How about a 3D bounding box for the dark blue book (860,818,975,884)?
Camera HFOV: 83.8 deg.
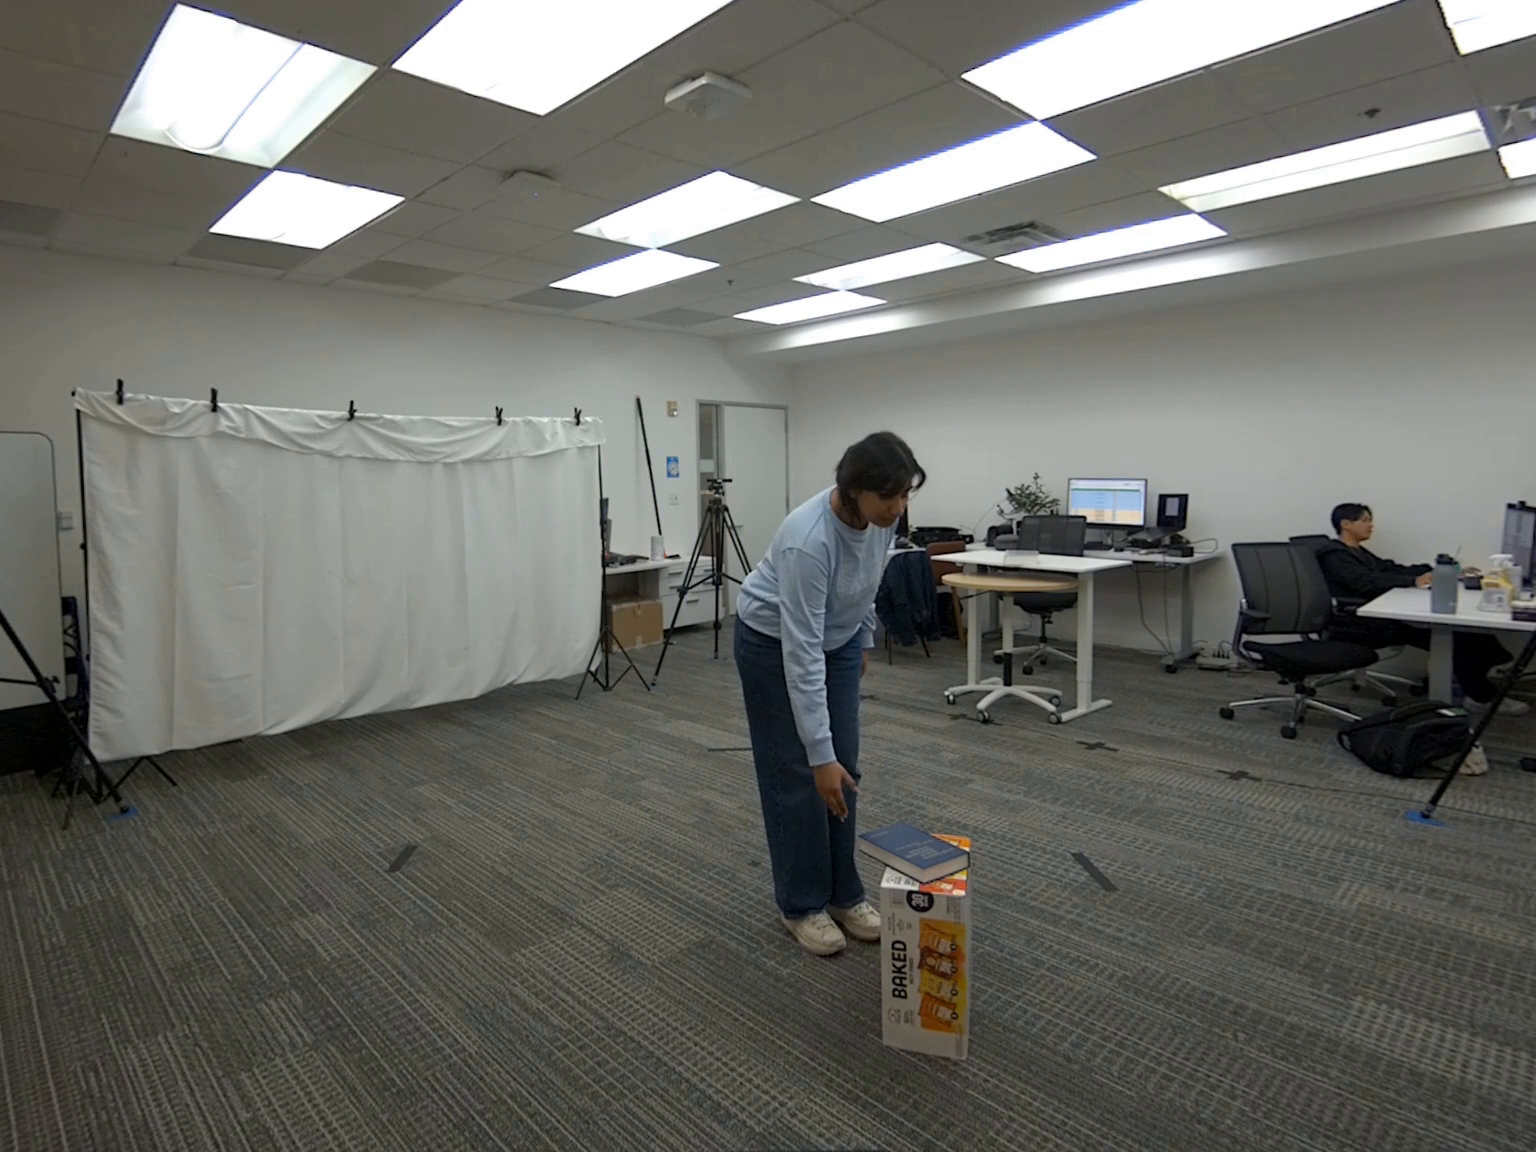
[{"bbox_3d":[0.383,0.709,2.226,0.159,0.045,0.252,-6,7,-33],"label":"dark blue book"}]
